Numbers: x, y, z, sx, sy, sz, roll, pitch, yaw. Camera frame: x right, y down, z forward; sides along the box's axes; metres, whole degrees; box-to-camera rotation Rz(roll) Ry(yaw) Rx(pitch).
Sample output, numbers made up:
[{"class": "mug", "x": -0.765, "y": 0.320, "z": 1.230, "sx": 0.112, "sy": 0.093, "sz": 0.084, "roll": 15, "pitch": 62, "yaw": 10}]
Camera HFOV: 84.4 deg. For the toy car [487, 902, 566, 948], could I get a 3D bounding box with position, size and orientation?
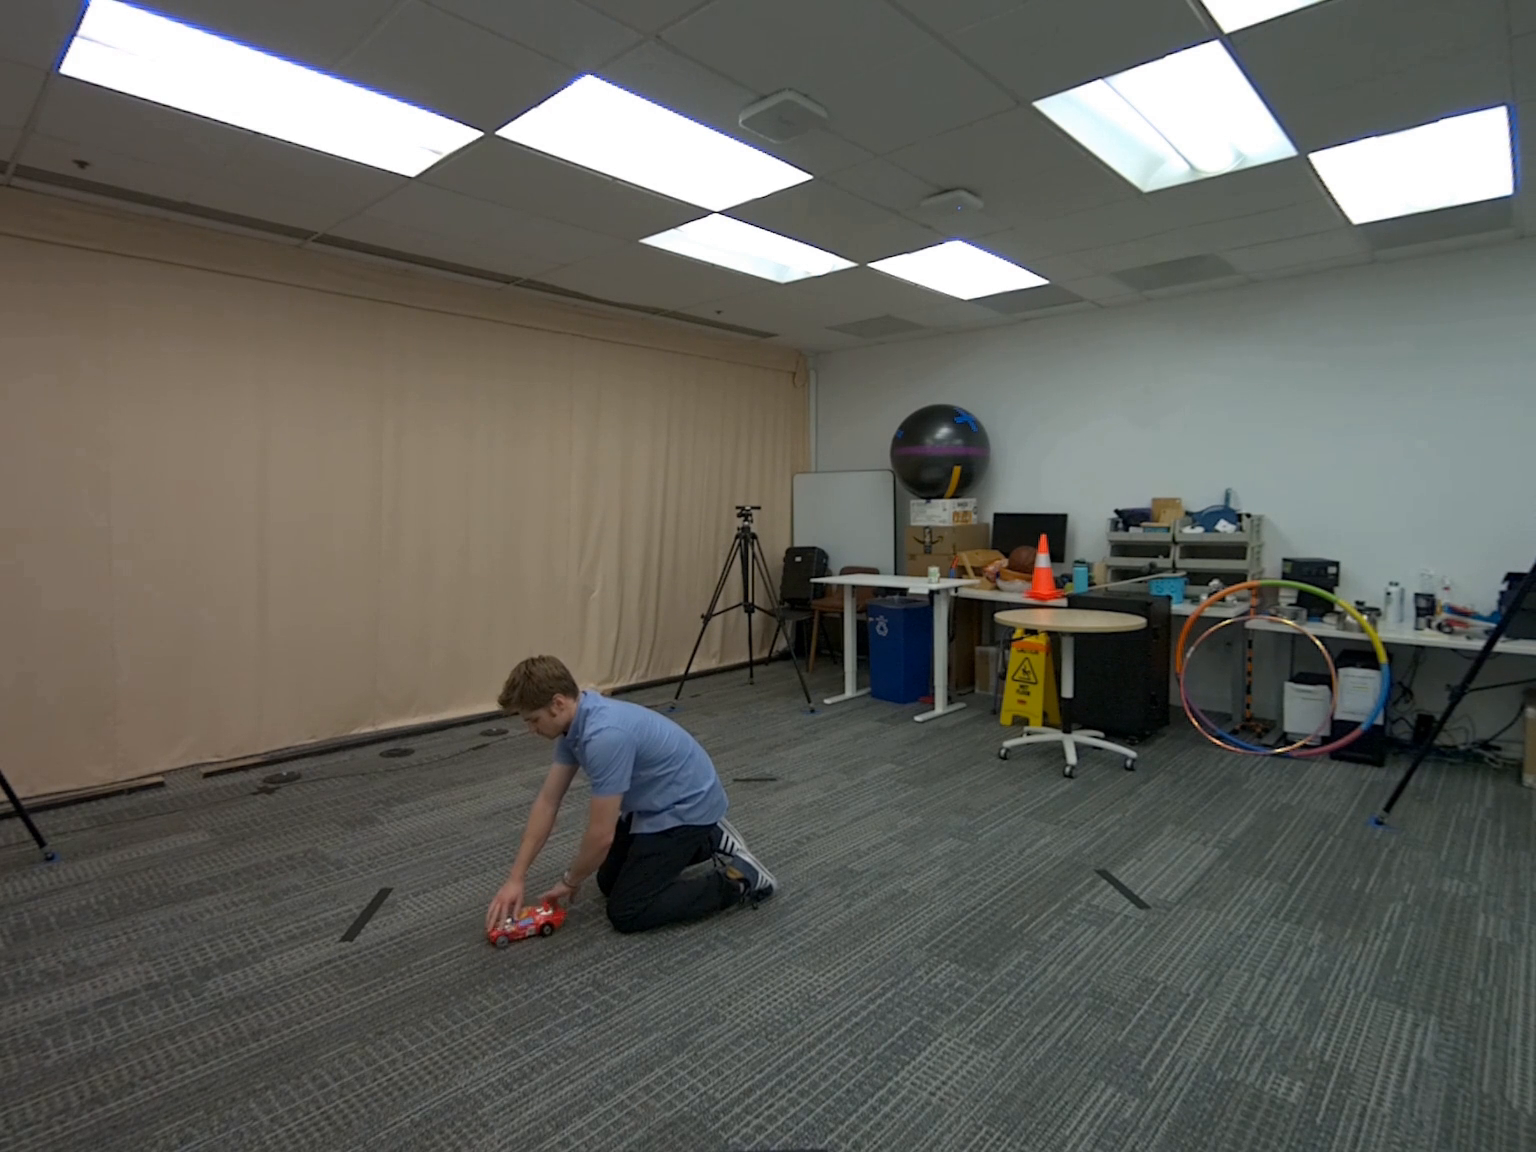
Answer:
[{"class": "toy car", "x": -0.794, "y": 1.144, "z": 2.750, "sx": 0.249, "sy": 0.083, "sz": 0.134, "roll": -14, "pitch": 7, "yaw": -26}]
